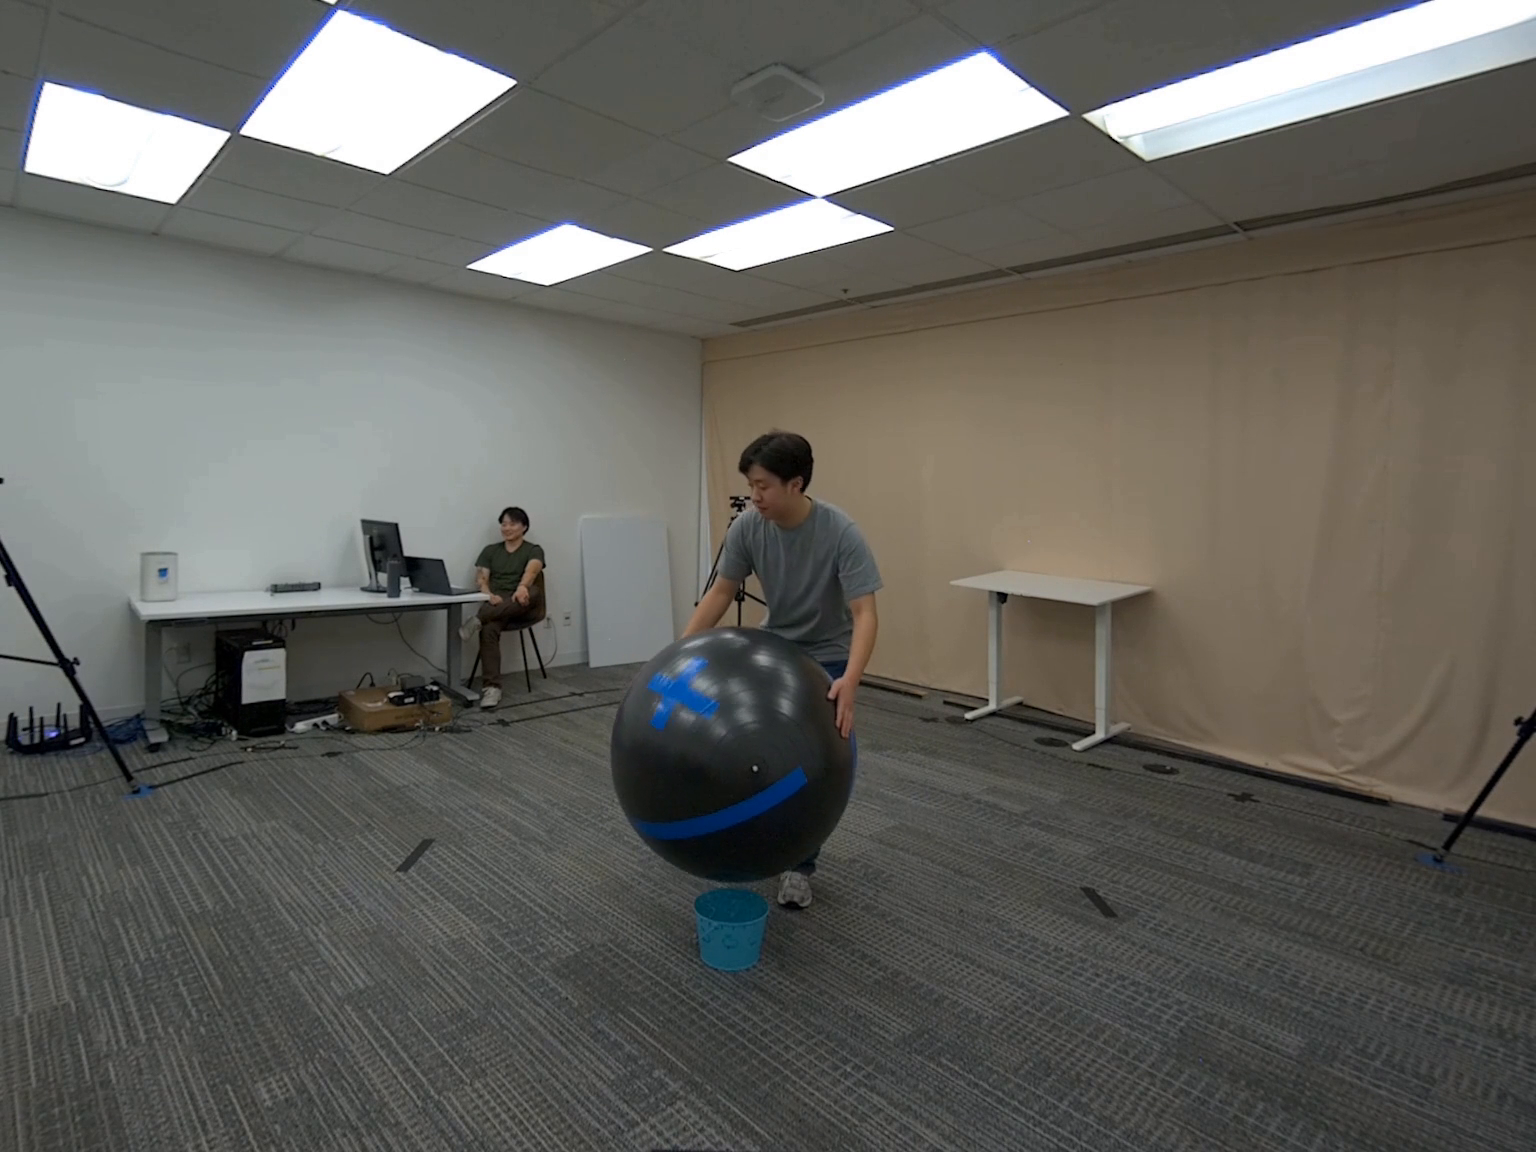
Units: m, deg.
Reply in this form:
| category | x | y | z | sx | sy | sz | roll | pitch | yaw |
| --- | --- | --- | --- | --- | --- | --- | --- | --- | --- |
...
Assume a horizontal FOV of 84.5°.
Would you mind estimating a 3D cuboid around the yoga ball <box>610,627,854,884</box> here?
| category | x | y | z | sx | sy | sz | roll | pitch | yaw |
| --- | --- | --- | --- | --- | --- | --- | --- | --- | --- |
| yoga ball | -0.117 | 0.544 | 2.604 | 0.757 | 0.756 | 0.761 | 1 | 4 | -1 |
